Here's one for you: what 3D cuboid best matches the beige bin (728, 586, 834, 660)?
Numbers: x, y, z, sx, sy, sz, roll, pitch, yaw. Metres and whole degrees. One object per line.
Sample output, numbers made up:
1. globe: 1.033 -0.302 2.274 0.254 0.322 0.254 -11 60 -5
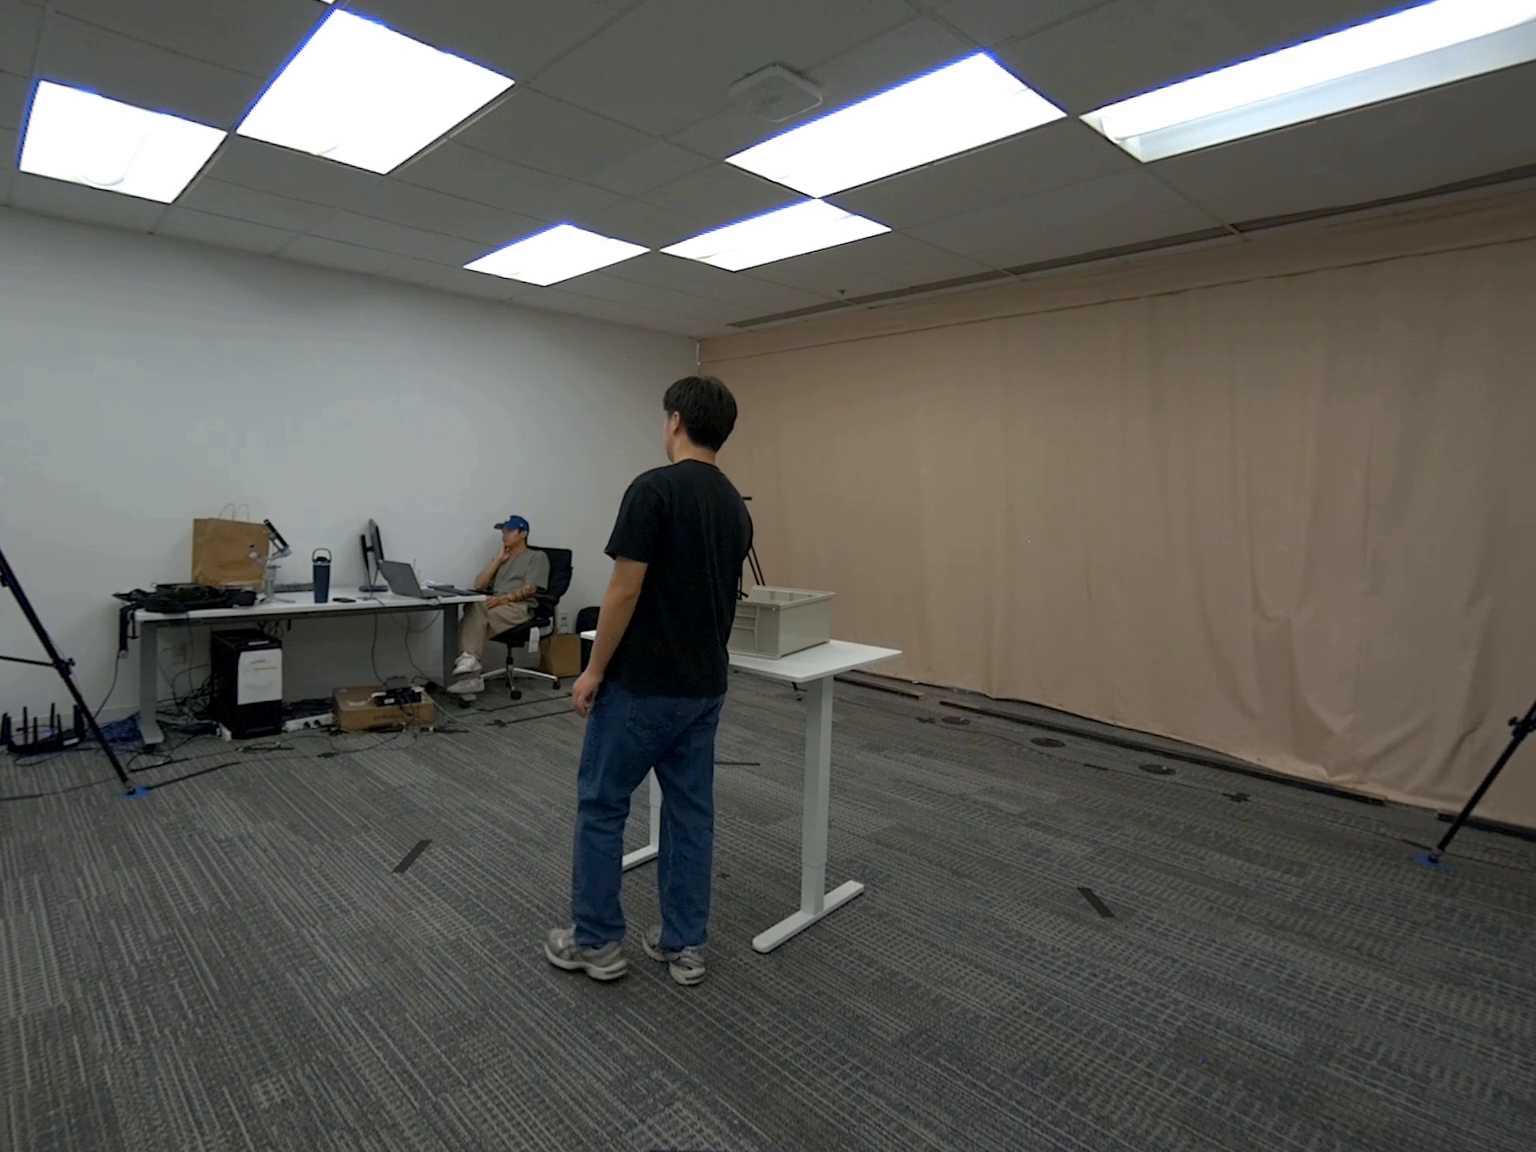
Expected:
1. beige bin: -0.027 0.156 2.934 0.386 0.188 0.414 6 6 30
